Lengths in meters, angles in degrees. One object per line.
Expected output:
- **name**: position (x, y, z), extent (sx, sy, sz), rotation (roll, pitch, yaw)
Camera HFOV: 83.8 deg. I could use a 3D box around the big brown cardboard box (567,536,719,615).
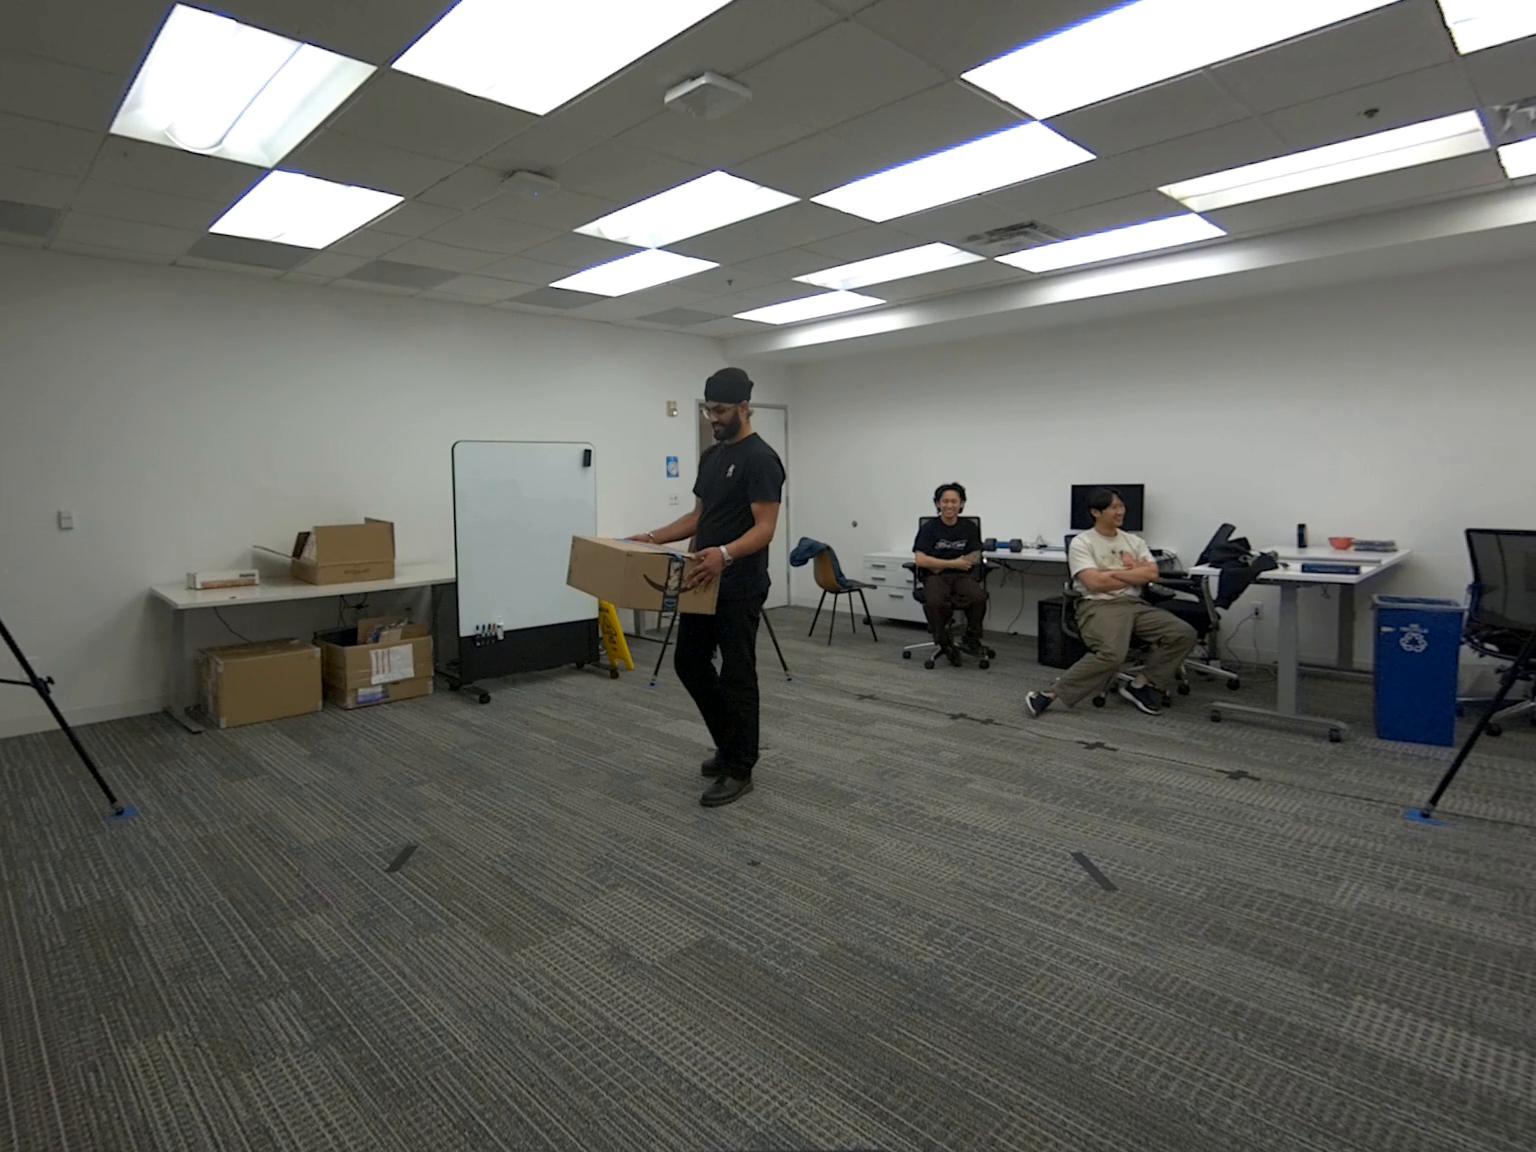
- **big brown cardboard box**: position (-0.518, -0.011, 3.499), extent (0.405, 0.233, 0.607), rotation (6, 4, -33)
